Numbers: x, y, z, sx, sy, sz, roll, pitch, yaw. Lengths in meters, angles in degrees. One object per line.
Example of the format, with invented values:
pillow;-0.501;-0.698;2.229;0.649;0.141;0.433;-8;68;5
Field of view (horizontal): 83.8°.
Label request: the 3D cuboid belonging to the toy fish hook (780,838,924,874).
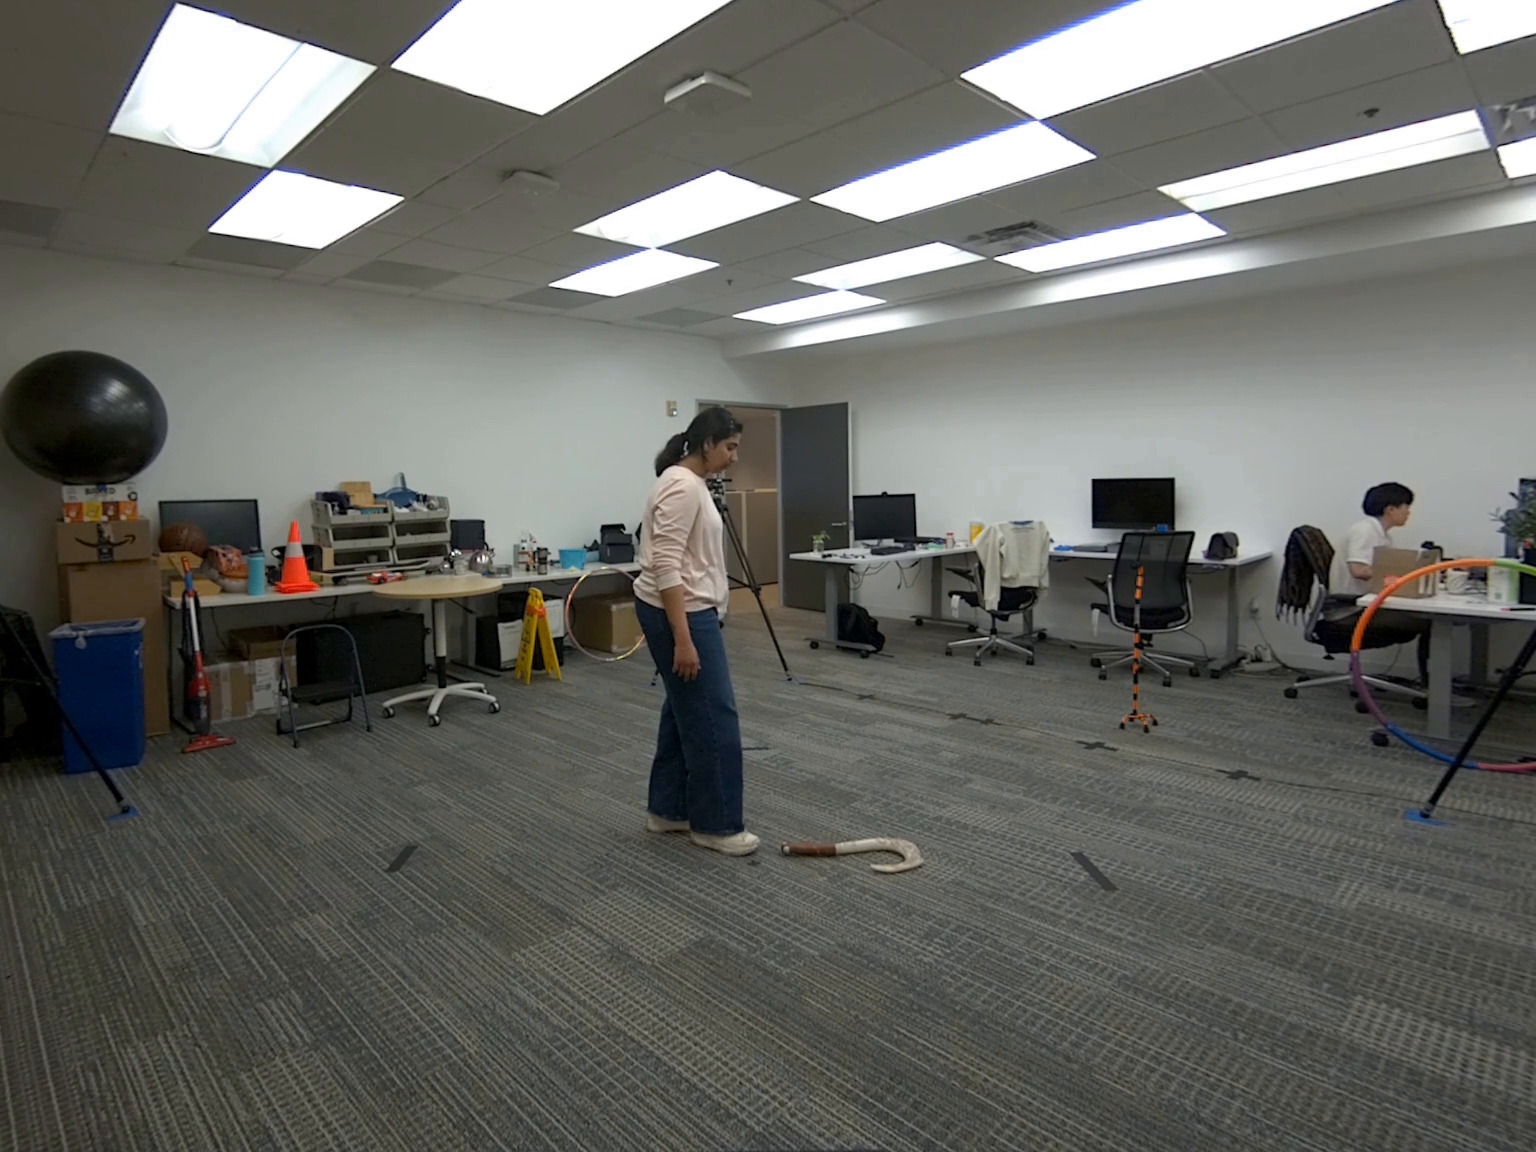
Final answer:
toy fish hook;0.304;1.008;3.108;0.507;0.048;0.225;-1;5;0
